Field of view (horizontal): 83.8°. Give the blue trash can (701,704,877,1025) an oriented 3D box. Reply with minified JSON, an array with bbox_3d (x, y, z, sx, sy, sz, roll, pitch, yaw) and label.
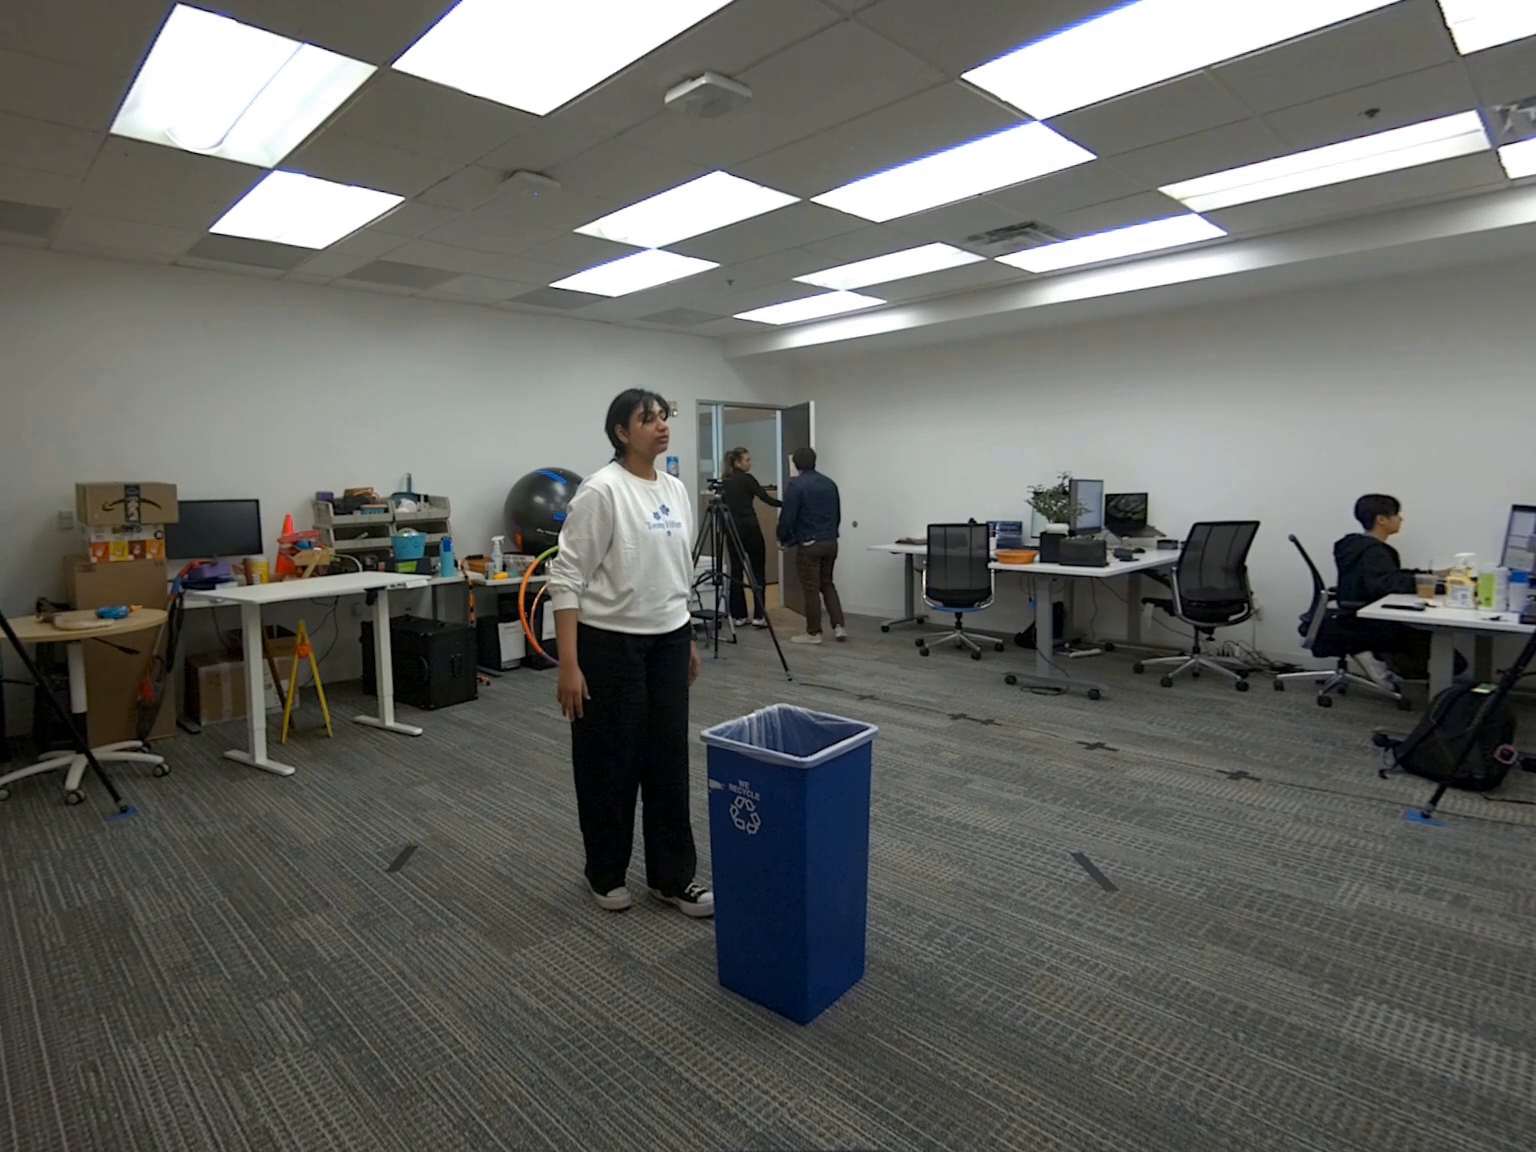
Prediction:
[{"bbox_3d":[0.075,0.774,2.361,0.385,0.711,0.368,2,6,39],"label":"blue trash can"}]
